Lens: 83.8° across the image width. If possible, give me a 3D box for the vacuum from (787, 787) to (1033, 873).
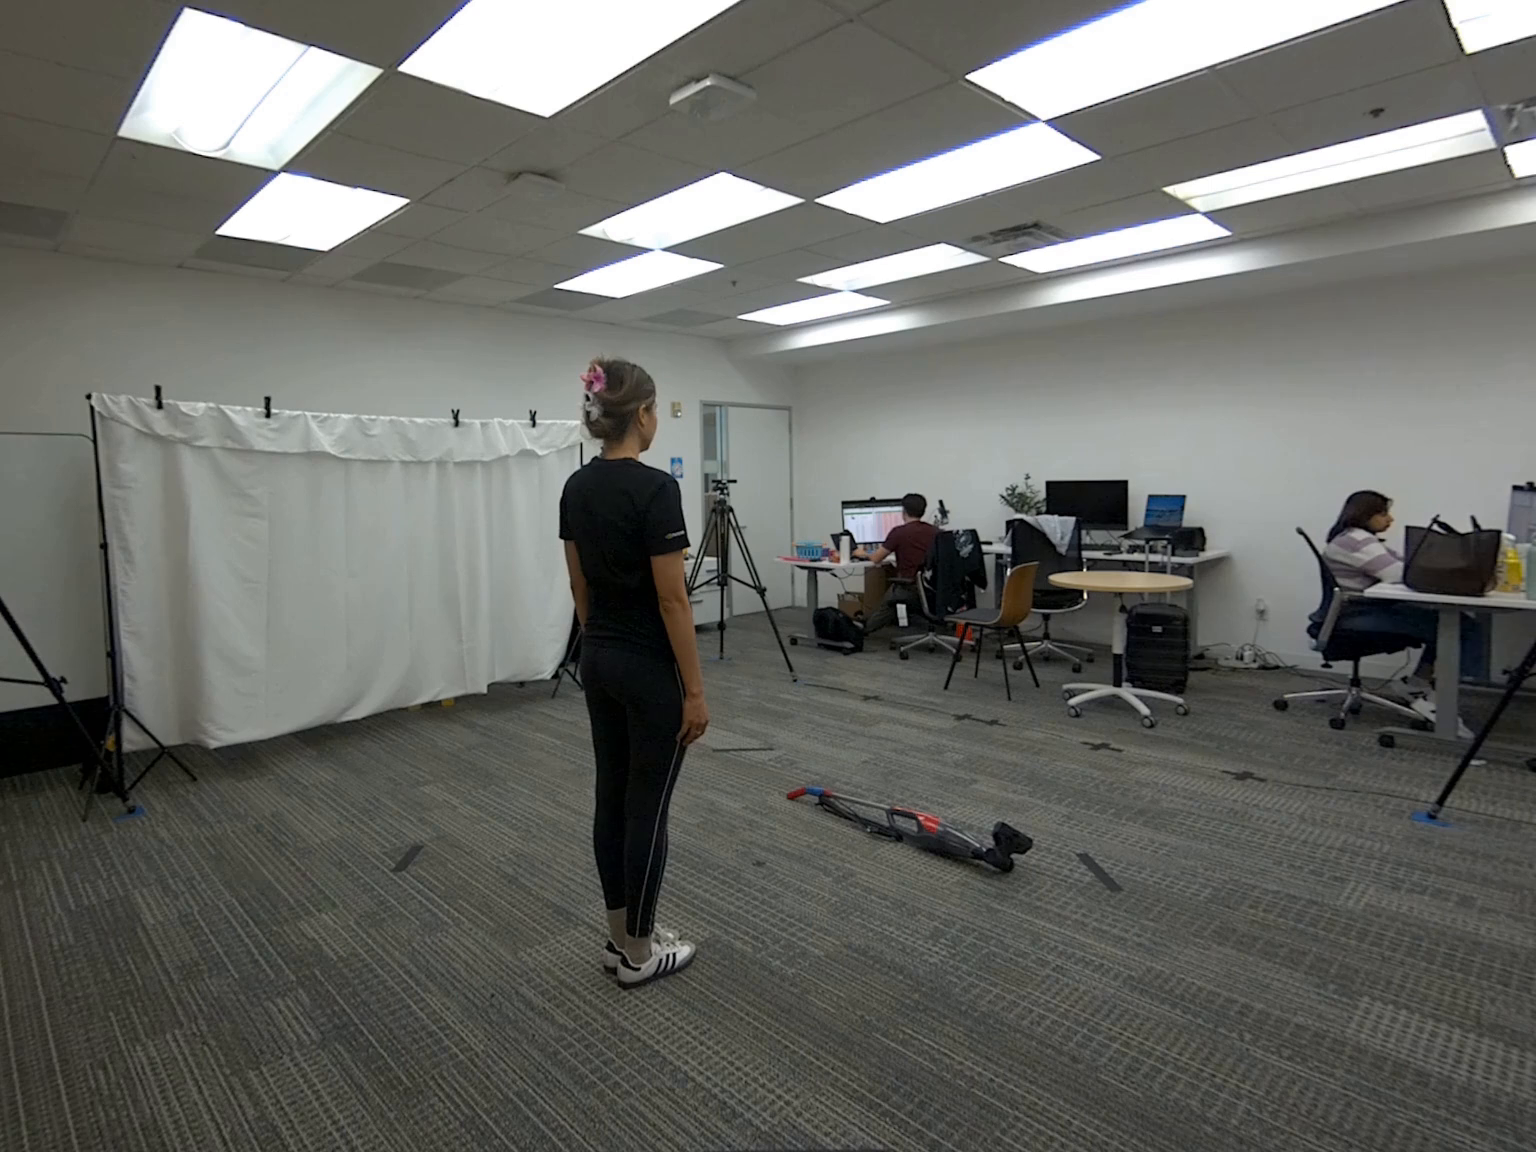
[{"bbox_3d":[0.471,0.964,3.356,1.078,0.145,0.243,-2,-27,45],"label":"vacuum"}]
